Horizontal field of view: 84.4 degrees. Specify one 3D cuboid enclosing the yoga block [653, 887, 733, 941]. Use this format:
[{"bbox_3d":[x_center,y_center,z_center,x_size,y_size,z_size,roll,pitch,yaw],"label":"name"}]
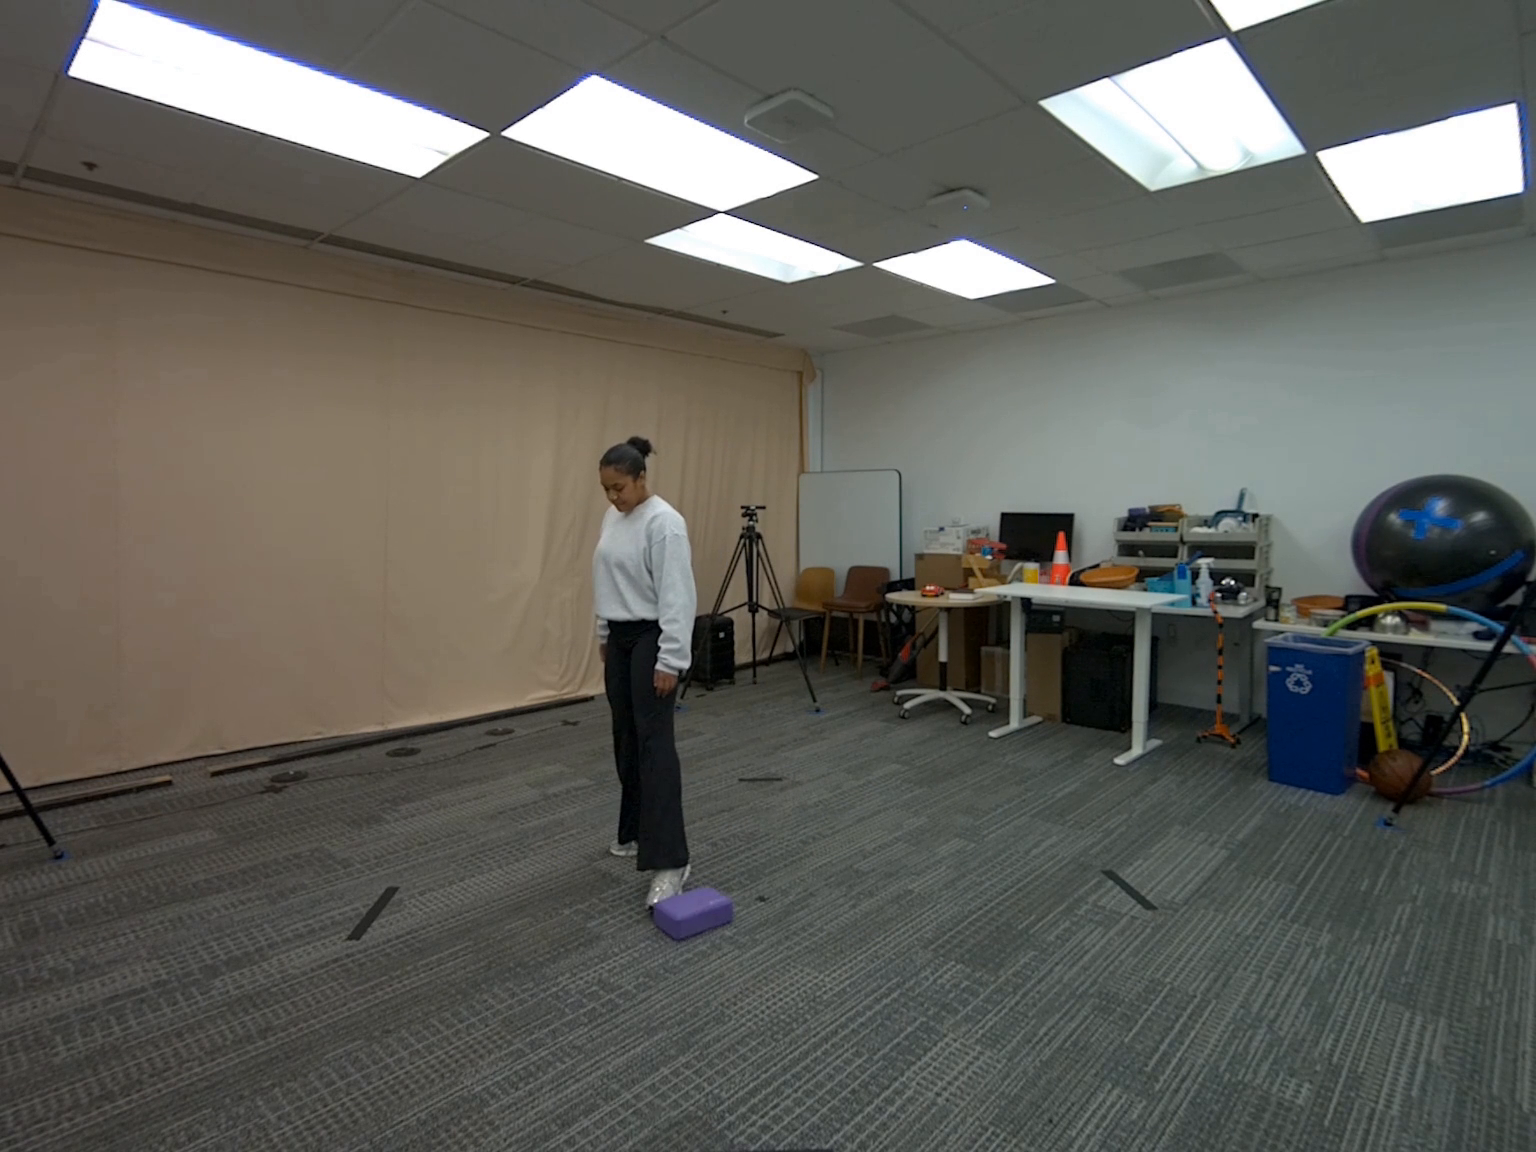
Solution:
[{"bbox_3d":[-0.268,1.116,2.816,0.222,0.076,0.154,-3,5,-38],"label":"yoga block"}]
